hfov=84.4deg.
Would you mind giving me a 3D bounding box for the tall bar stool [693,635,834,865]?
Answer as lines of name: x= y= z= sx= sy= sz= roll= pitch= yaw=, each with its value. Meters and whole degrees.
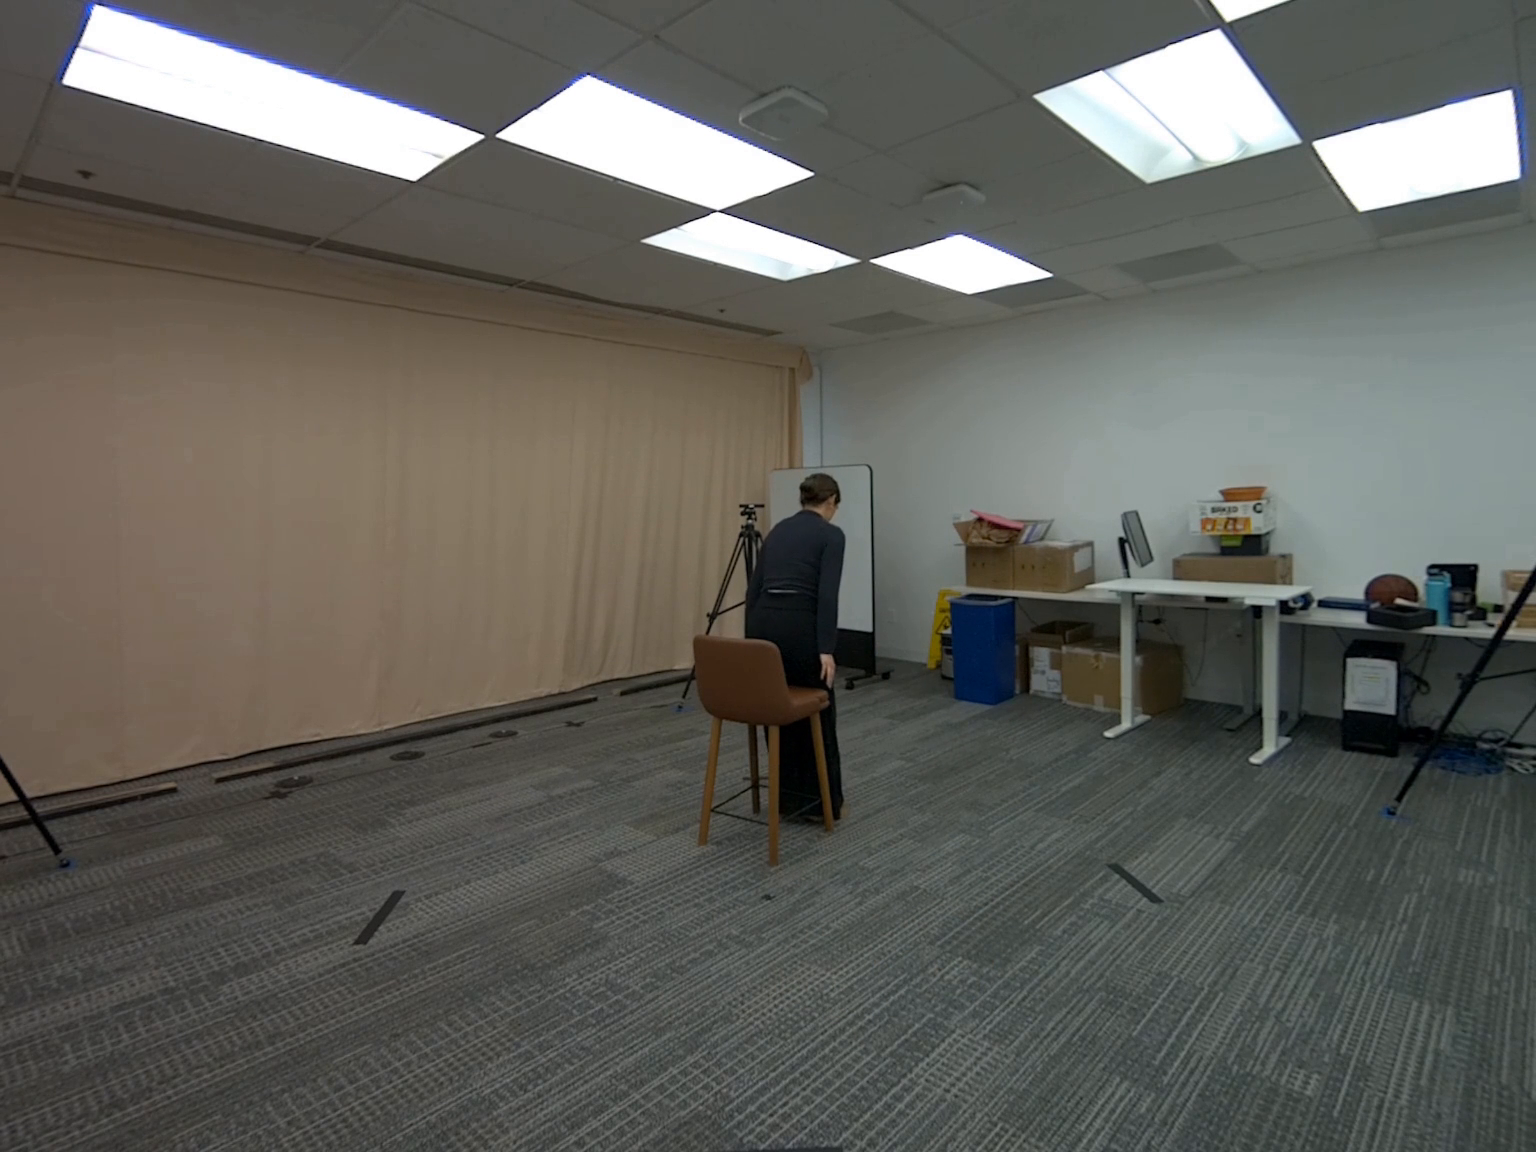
tall bar stool: x=-0.020 y=0.660 z=3.498 sx=0.471 sy=0.887 sz=0.454 roll=1 pitch=5 yaw=35
